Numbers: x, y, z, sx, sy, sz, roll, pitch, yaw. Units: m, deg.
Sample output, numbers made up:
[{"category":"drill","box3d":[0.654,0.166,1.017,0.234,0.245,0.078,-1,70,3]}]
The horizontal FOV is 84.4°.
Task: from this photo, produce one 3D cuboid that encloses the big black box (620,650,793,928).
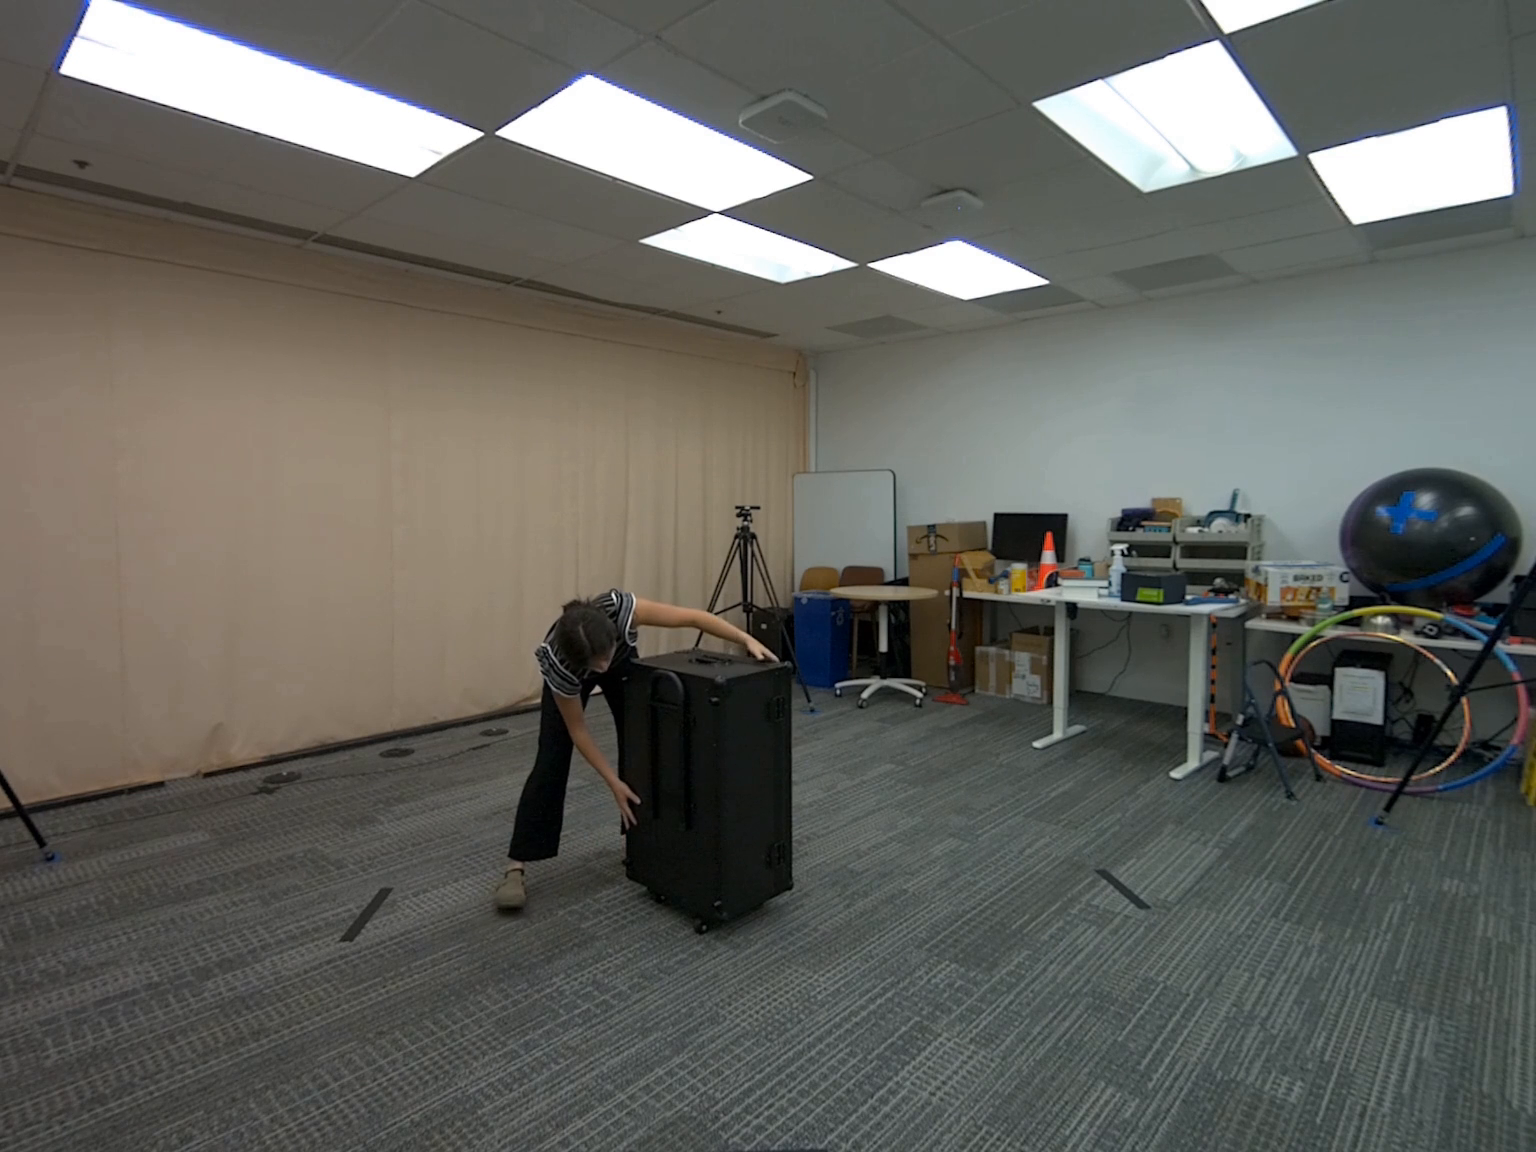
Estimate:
[{"category":"big black box","box3d":[-0.210,0.729,2.921,0.538,0.859,0.384,3,5,43]}]
